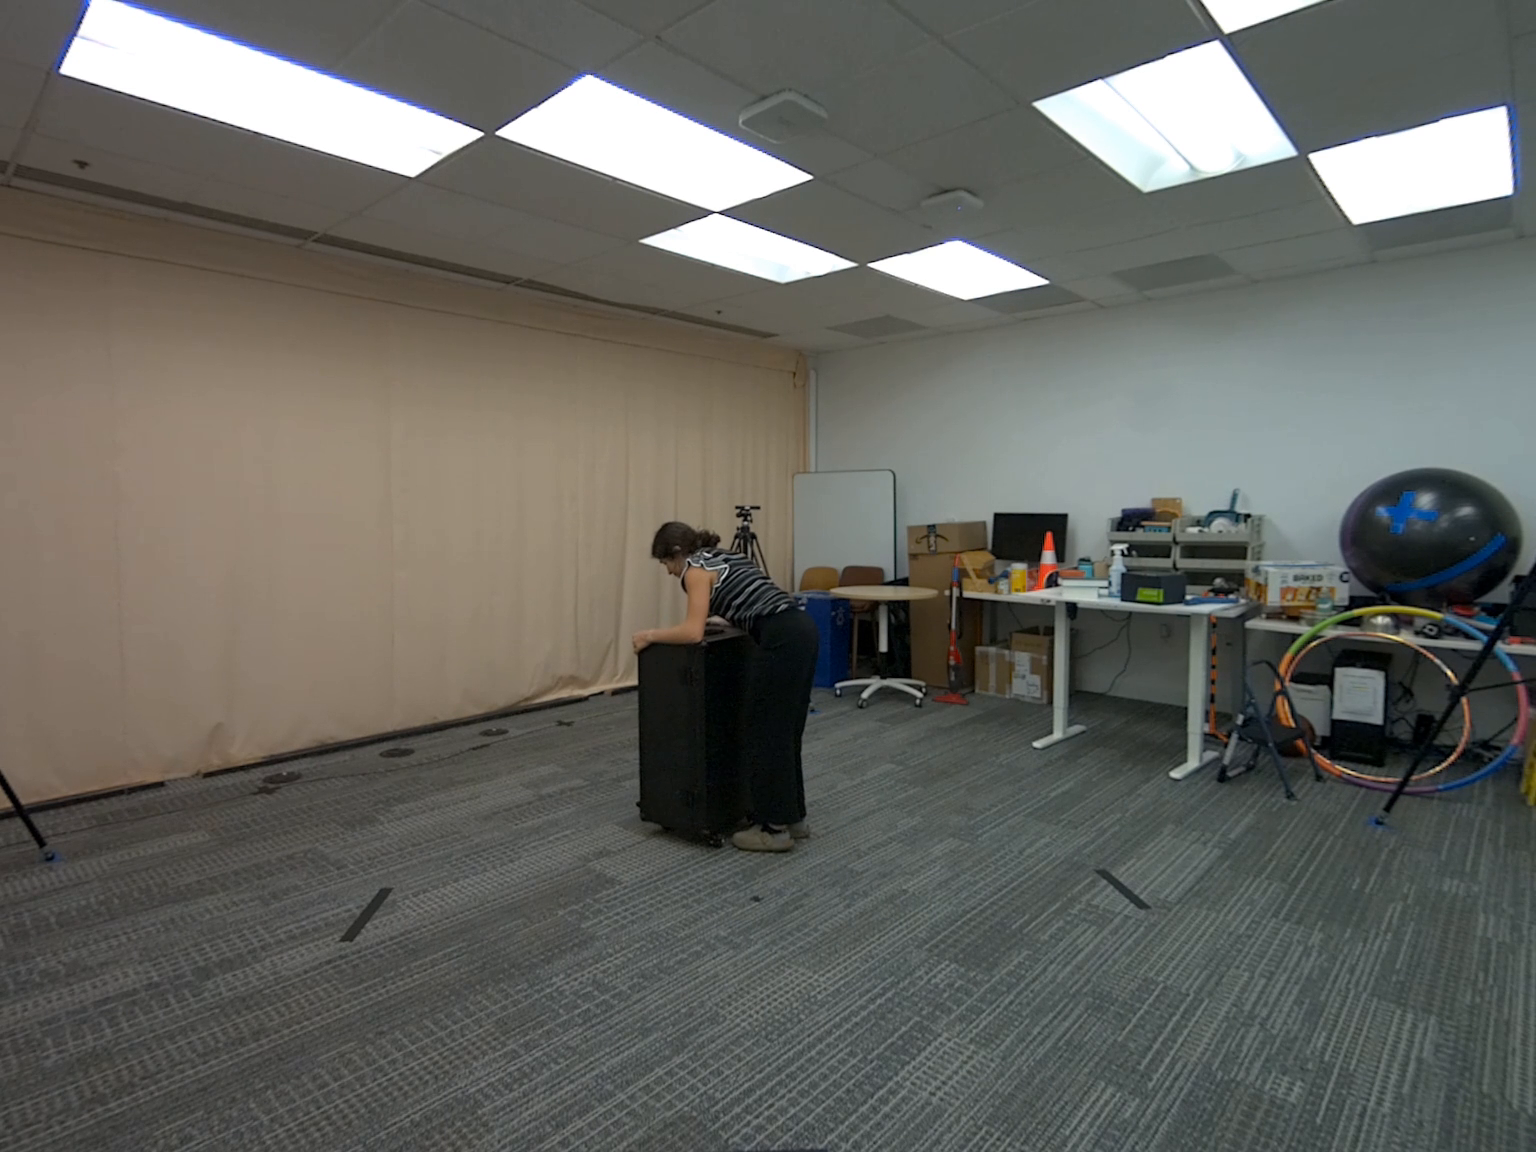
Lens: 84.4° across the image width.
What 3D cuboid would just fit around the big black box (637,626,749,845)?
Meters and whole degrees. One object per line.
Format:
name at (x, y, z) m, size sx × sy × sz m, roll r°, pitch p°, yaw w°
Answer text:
big black box at (-0.284, 0.677, 3.637) m, size 0.408 × 0.860 × 0.506 m, roll 0°, pitch 3°, yaw 34°
